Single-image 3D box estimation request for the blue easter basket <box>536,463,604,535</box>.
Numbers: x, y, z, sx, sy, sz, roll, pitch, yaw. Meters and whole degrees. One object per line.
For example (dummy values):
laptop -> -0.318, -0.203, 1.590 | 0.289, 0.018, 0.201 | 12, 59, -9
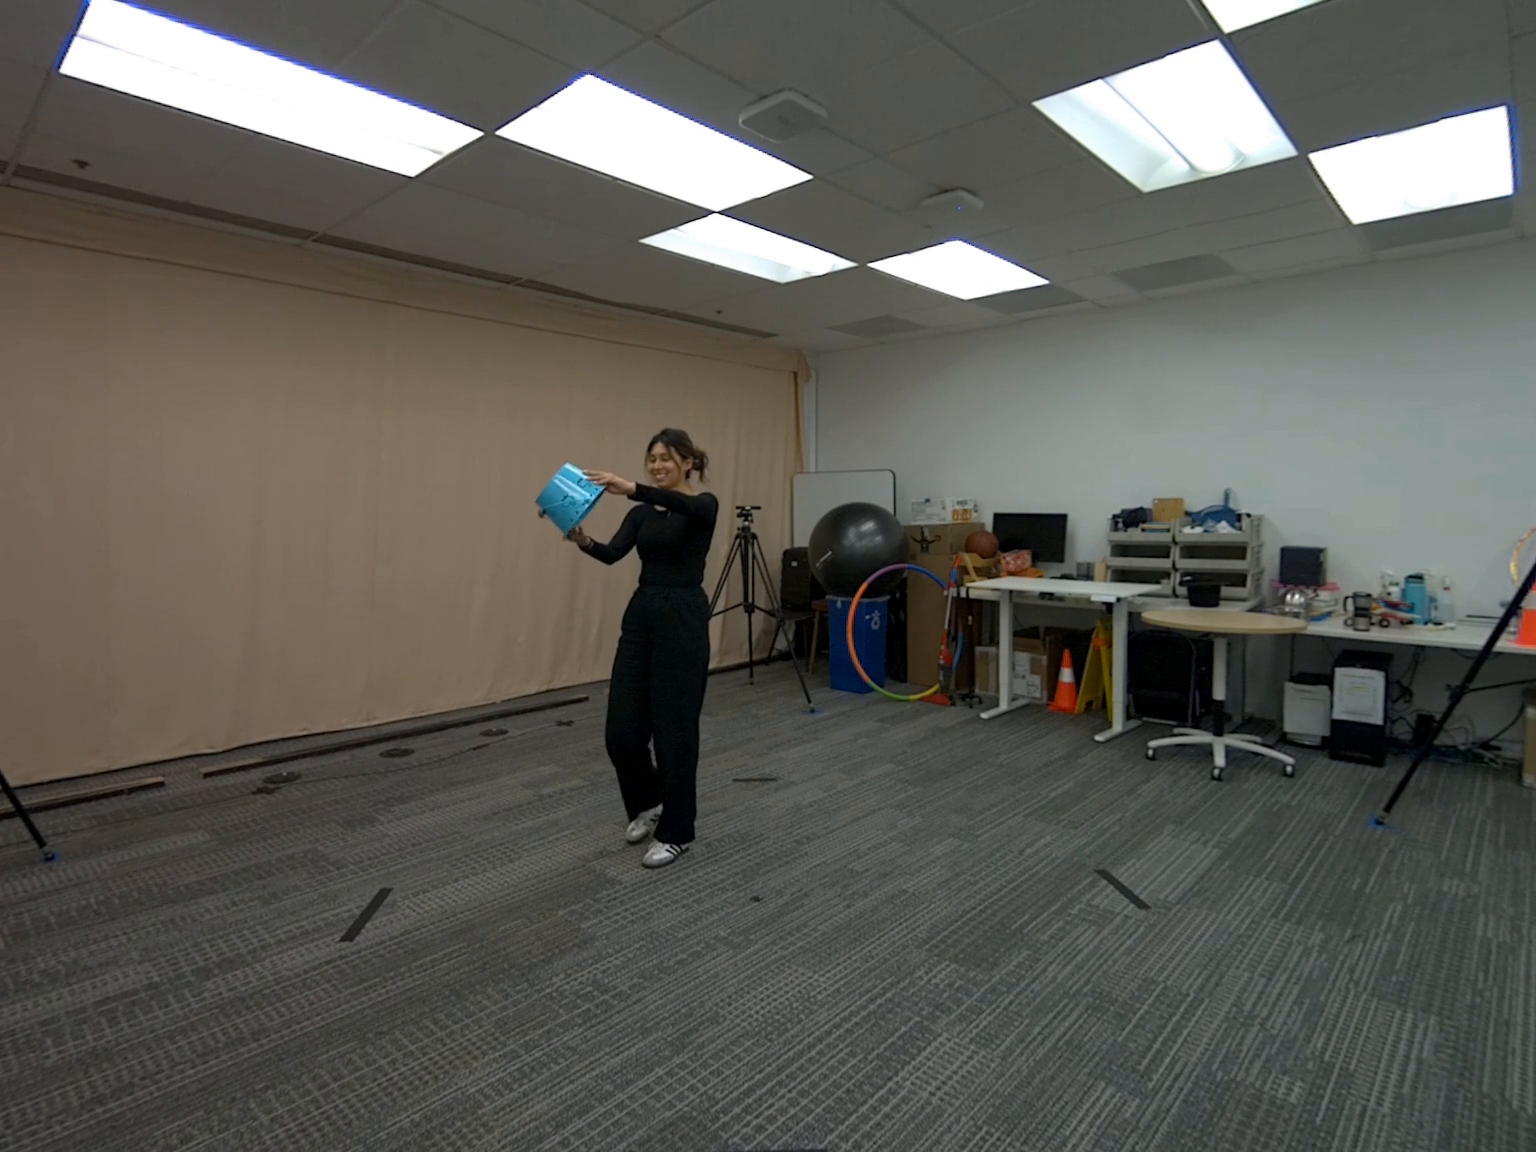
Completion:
blue easter basket -> -0.680, -0.267, 2.860 | 0.155, 0.243, 0.245 | 38, 0, -7
